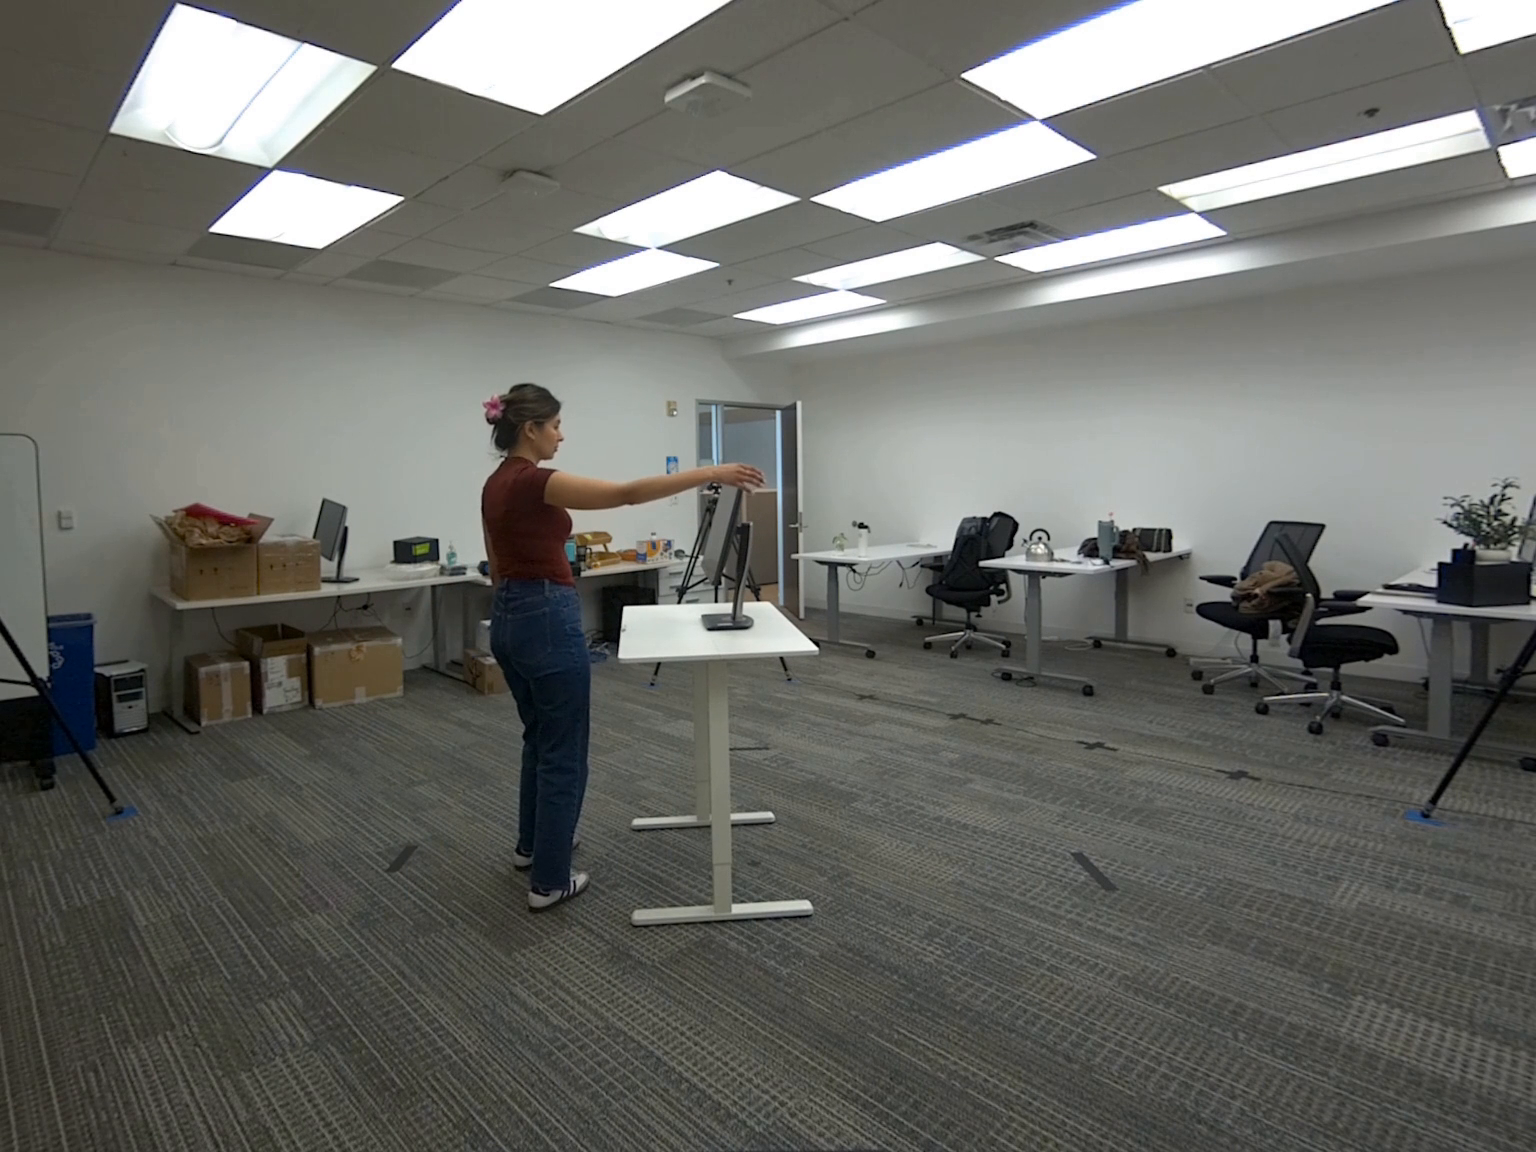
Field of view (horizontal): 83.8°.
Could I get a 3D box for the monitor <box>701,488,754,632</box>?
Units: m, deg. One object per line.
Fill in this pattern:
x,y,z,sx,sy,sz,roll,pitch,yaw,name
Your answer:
-0.140,-0.085,3.046,0.186,0.520,0.545,-1,5,-8,monitor
